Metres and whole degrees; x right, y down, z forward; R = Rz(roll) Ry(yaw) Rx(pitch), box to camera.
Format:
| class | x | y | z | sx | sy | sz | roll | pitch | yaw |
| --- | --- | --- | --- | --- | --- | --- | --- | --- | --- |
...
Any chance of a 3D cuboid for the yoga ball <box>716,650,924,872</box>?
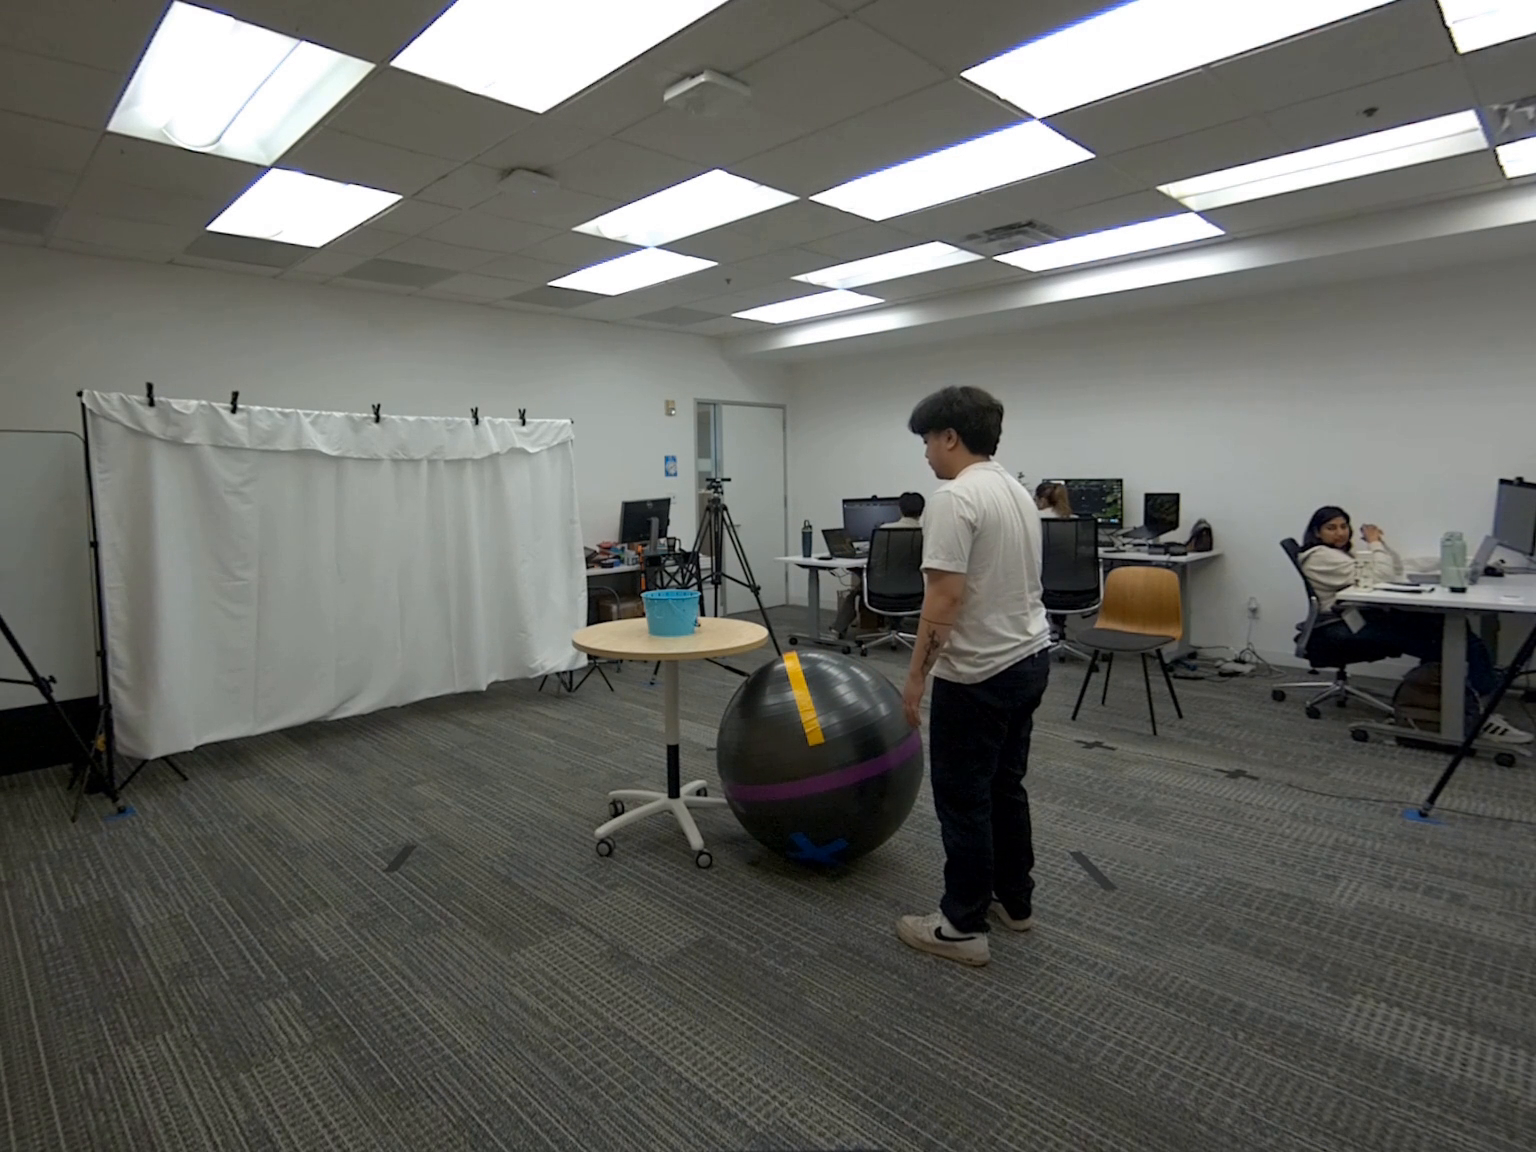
| class | x | y | z | sx | sy | sz | roll | pitch | yaw |
| --- | --- | --- | --- | --- | --- | --- | --- | --- | --- |
| yoga ball | 0.192 | 0.661 | 3.152 | 0.757 | 0.755 | 0.762 | -1 | 5 | -2 |
